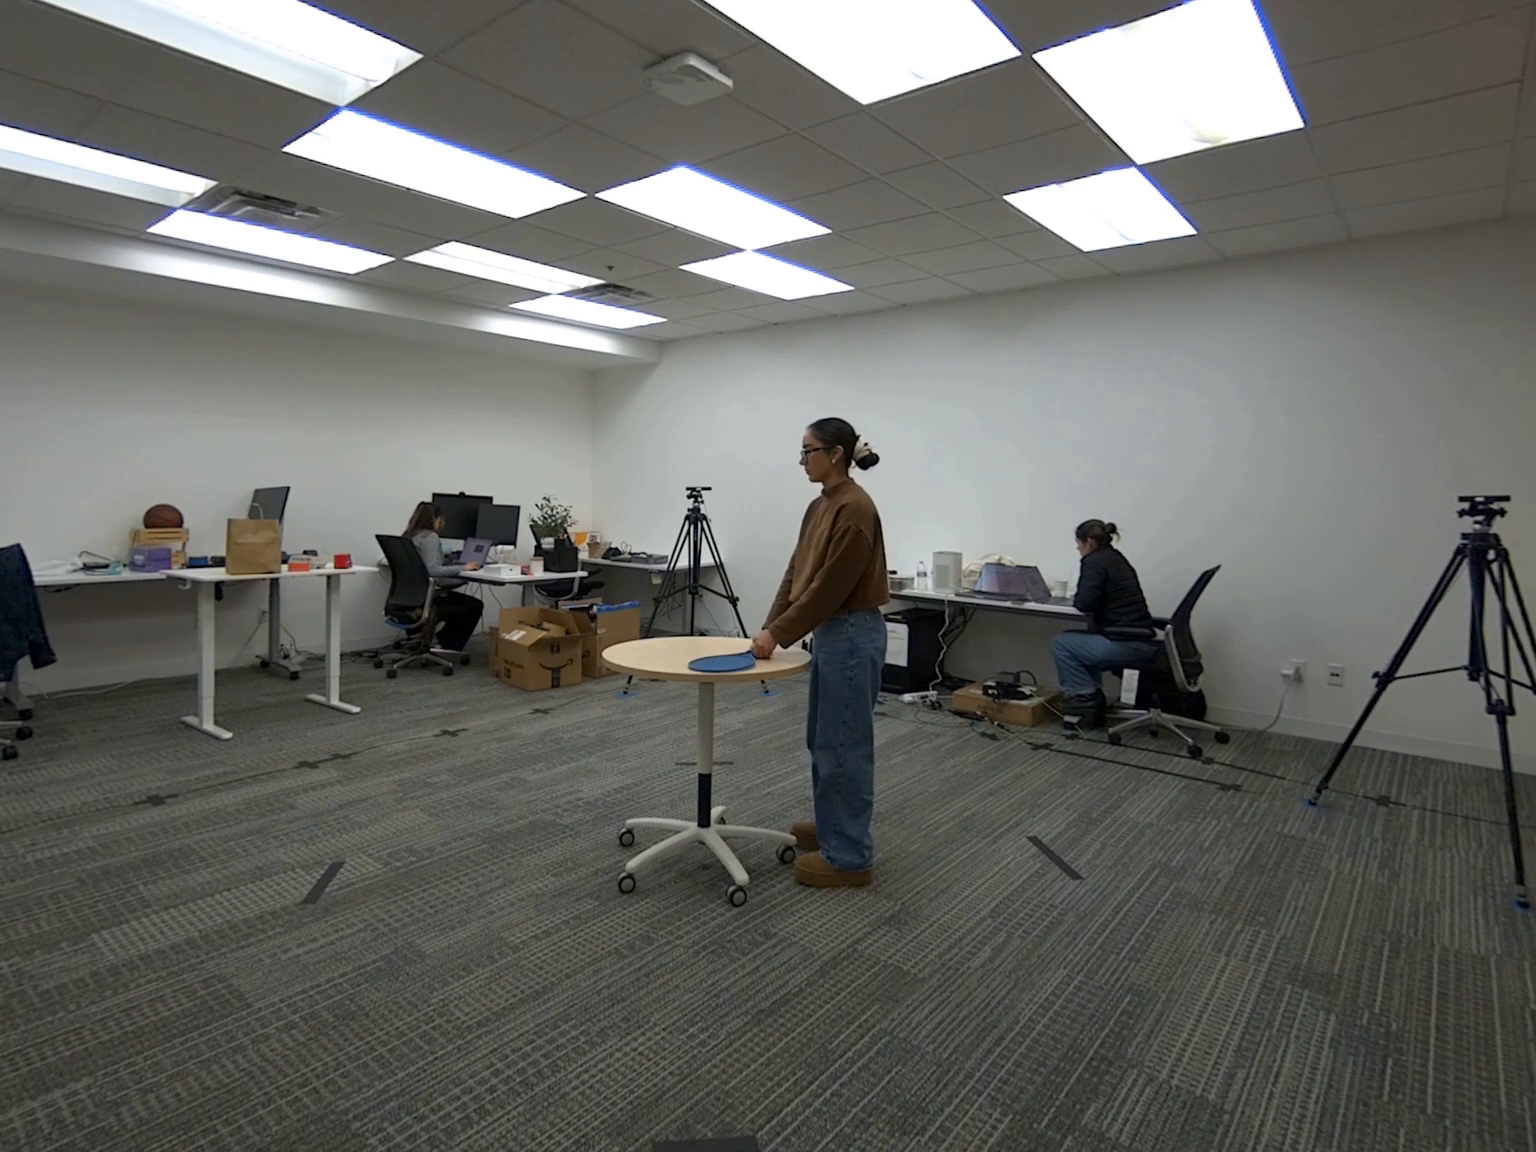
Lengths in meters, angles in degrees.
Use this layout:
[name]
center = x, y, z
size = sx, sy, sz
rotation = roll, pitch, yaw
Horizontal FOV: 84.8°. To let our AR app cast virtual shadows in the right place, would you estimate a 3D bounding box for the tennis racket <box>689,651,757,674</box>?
[tennis racket]
center = -0.115, 0.293, 2.950
size = 0.220, 0.031, 0.422
rotation = 3, 7, 32
